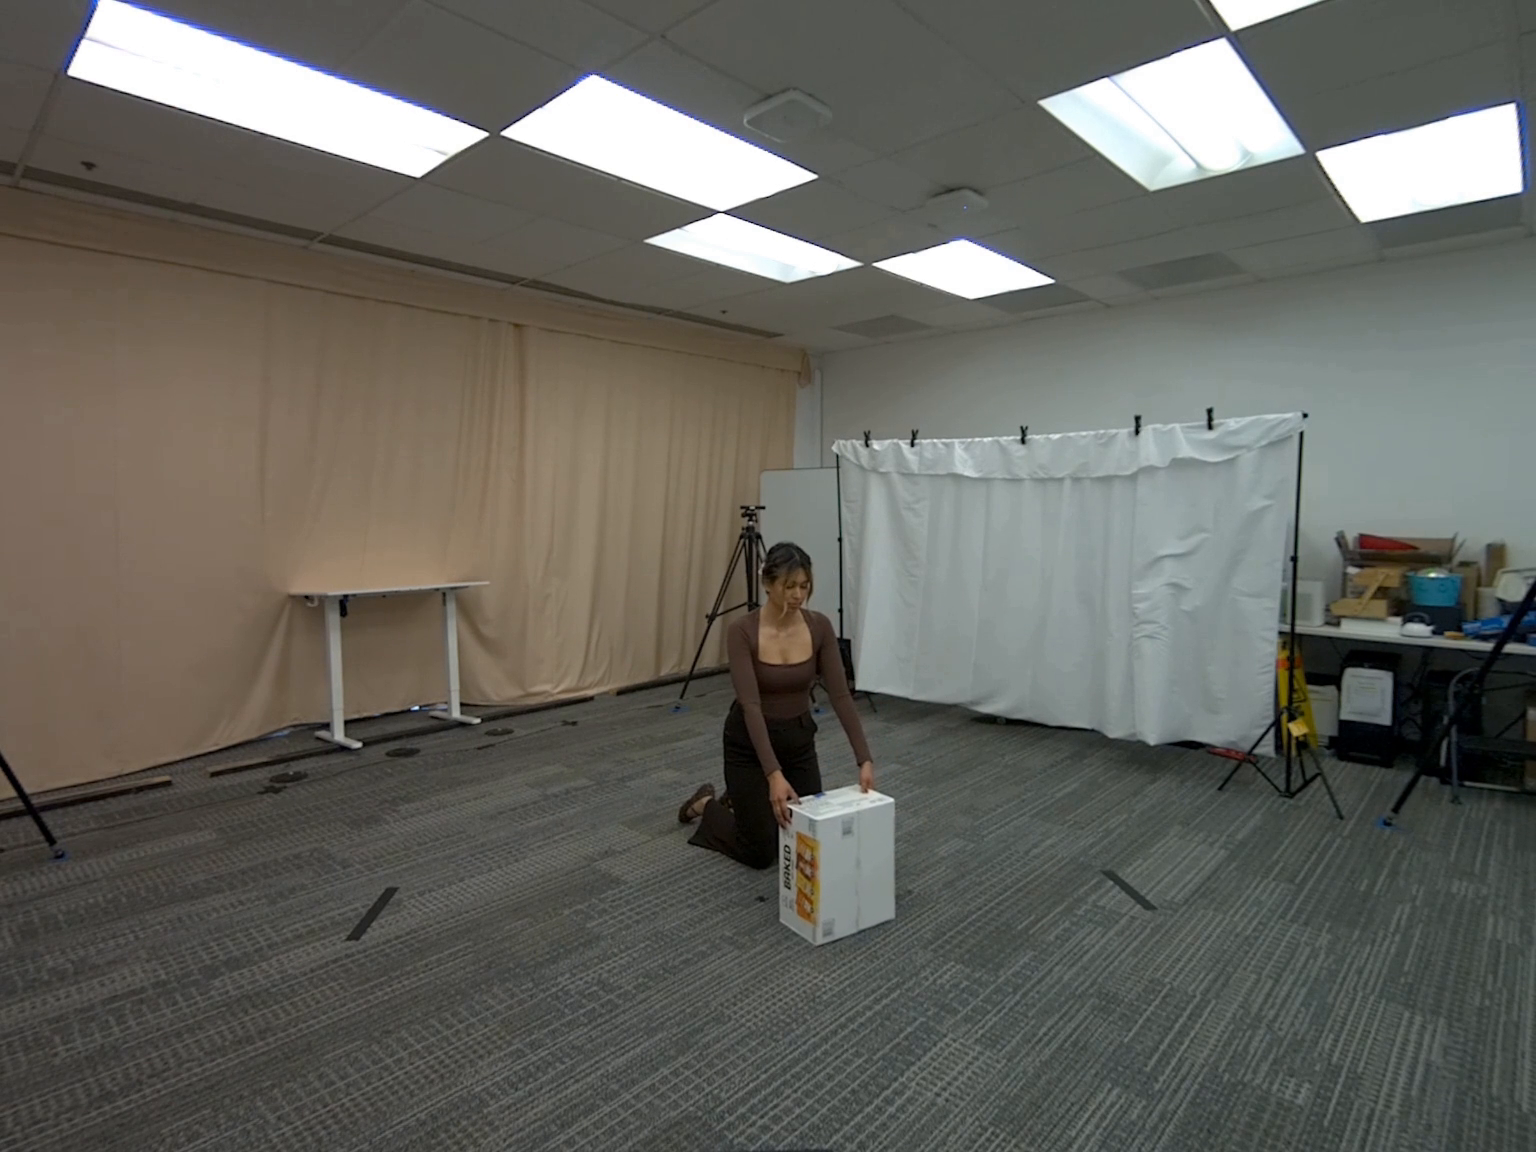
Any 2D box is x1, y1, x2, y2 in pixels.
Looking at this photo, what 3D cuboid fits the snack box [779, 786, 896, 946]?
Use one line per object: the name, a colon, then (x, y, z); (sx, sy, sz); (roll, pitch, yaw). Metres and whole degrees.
snack box: (0.235, 0.951, 2.825); (0.330, 0.404, 0.212); (-2, 3, -34)
